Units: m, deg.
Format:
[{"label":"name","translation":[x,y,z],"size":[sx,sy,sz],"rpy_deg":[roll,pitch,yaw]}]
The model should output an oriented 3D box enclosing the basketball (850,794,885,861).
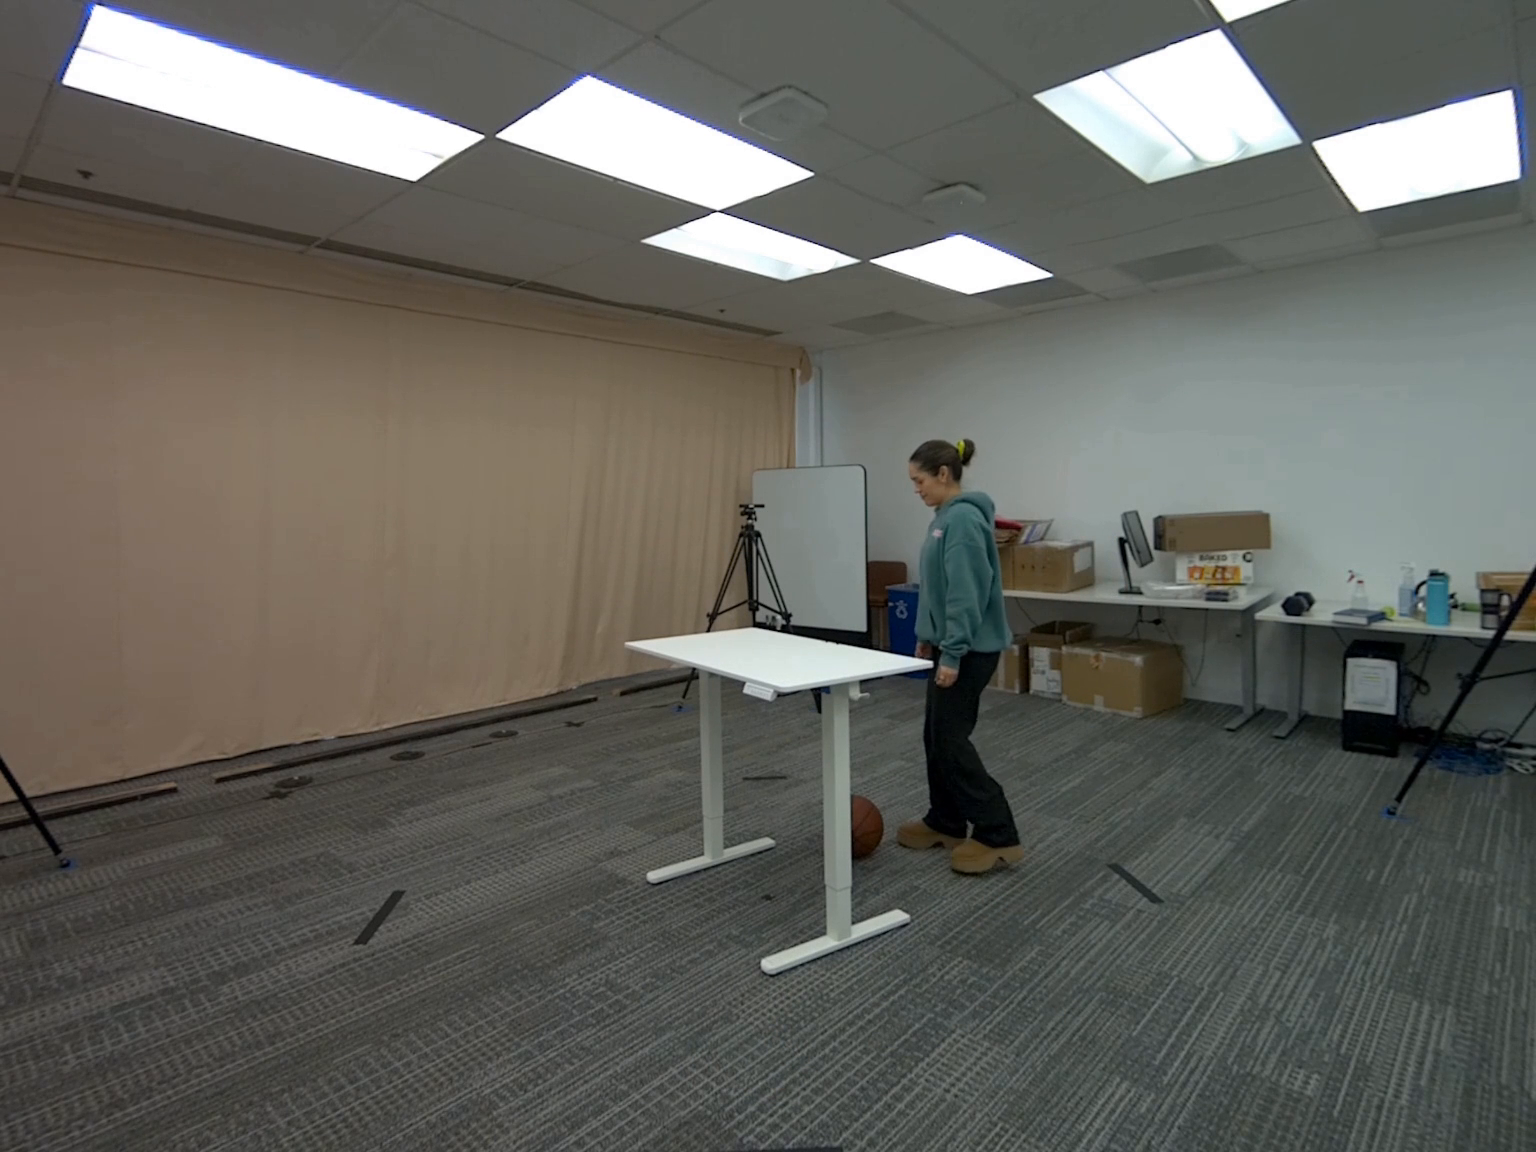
[{"label":"basketball","translation":[0.350,0.995,3.331],"size":[0.236,0.235,0.237],"rpy_deg":[-1,4,-2]}]
